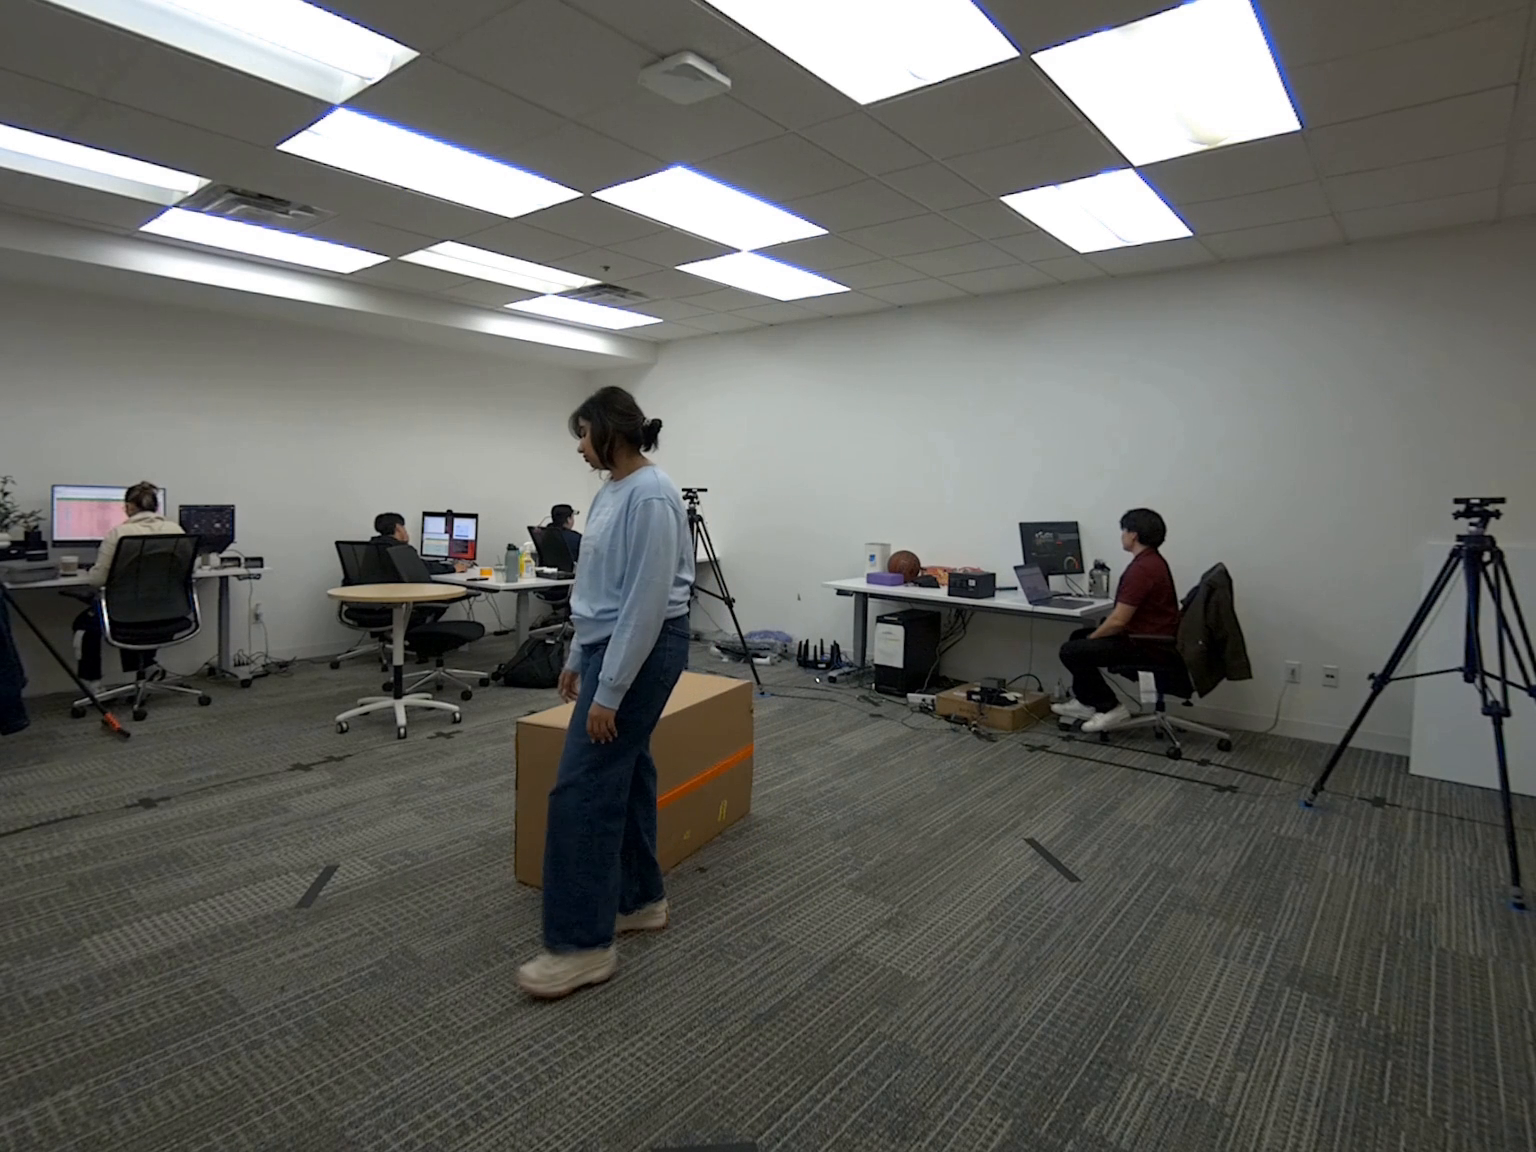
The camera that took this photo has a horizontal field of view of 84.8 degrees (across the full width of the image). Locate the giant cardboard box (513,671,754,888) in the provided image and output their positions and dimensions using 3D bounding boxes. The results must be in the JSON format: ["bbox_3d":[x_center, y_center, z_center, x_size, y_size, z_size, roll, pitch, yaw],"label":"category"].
[{"bbox_3d":[-0.485,0.759,3.320,0.459,0.582,1.003,2,5,27],"label":"giant cardboard box"}]
